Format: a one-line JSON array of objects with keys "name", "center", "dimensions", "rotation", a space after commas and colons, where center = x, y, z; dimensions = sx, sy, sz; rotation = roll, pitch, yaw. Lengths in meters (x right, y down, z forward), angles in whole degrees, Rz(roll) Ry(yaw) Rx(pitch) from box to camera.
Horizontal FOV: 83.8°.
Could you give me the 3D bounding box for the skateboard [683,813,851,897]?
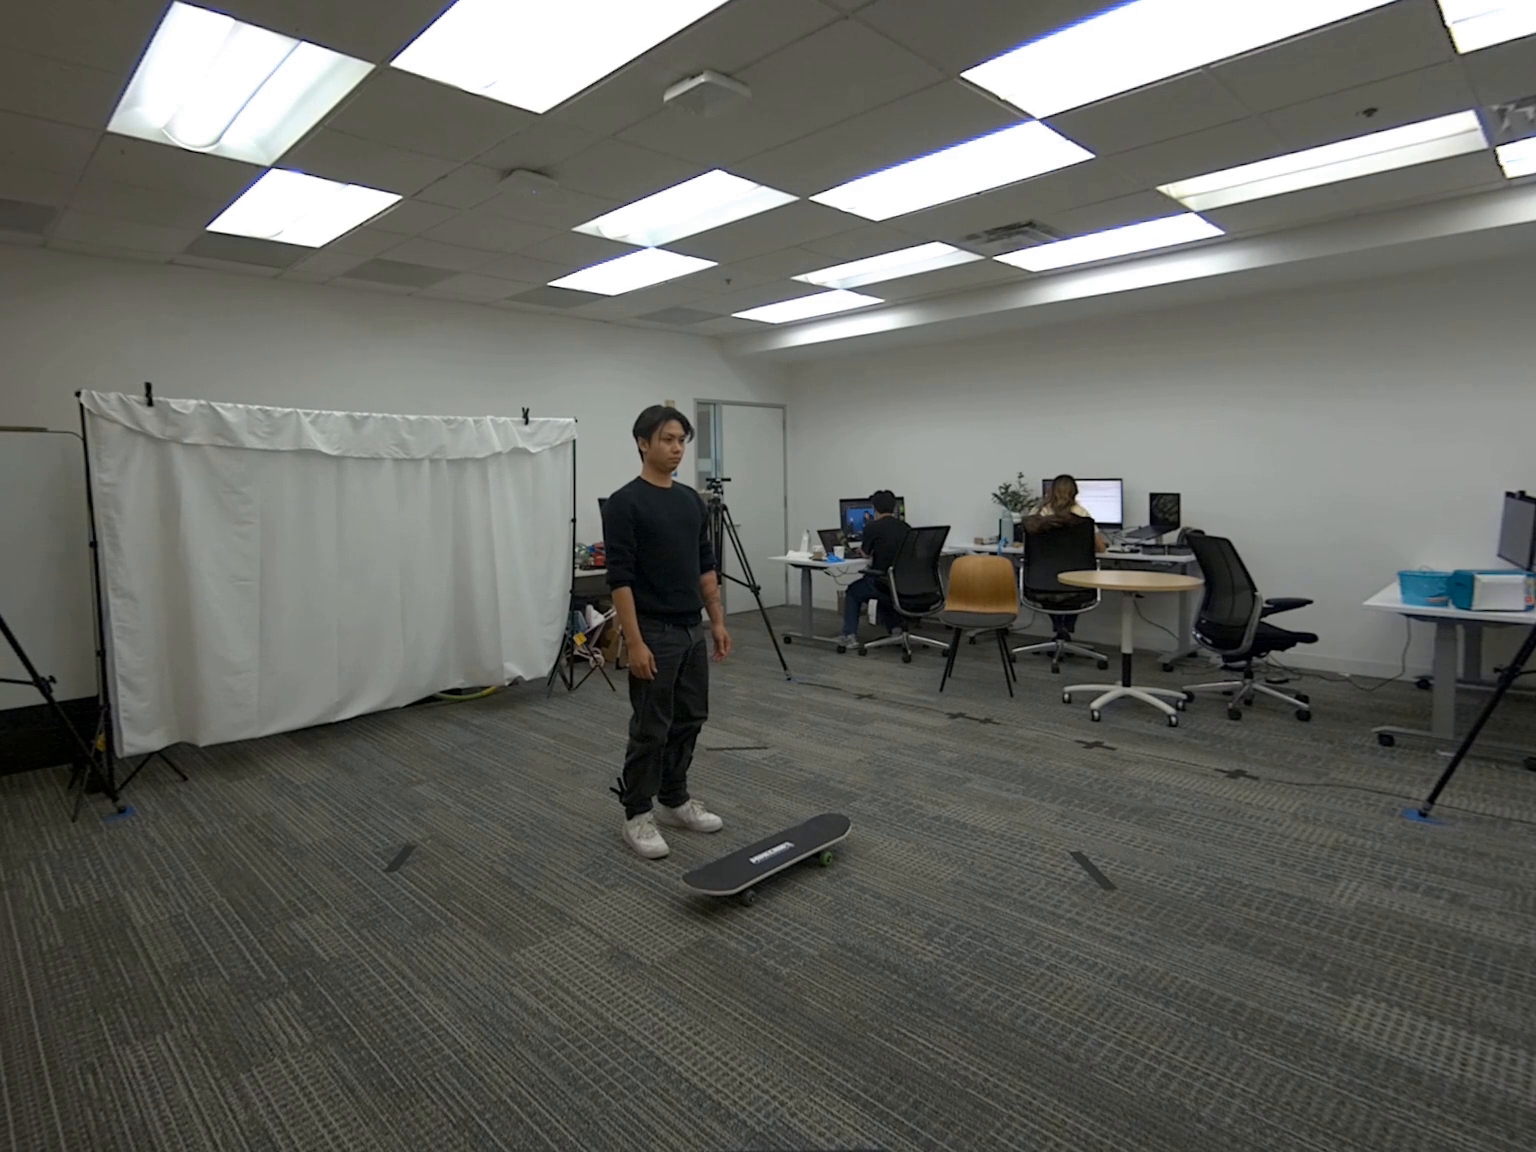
[{"name": "skateboard", "center": [0.020, 0.994, 2.987], "dimensions": [0.199, 0.110, 0.765], "rotation": [4, 8, 44]}]
